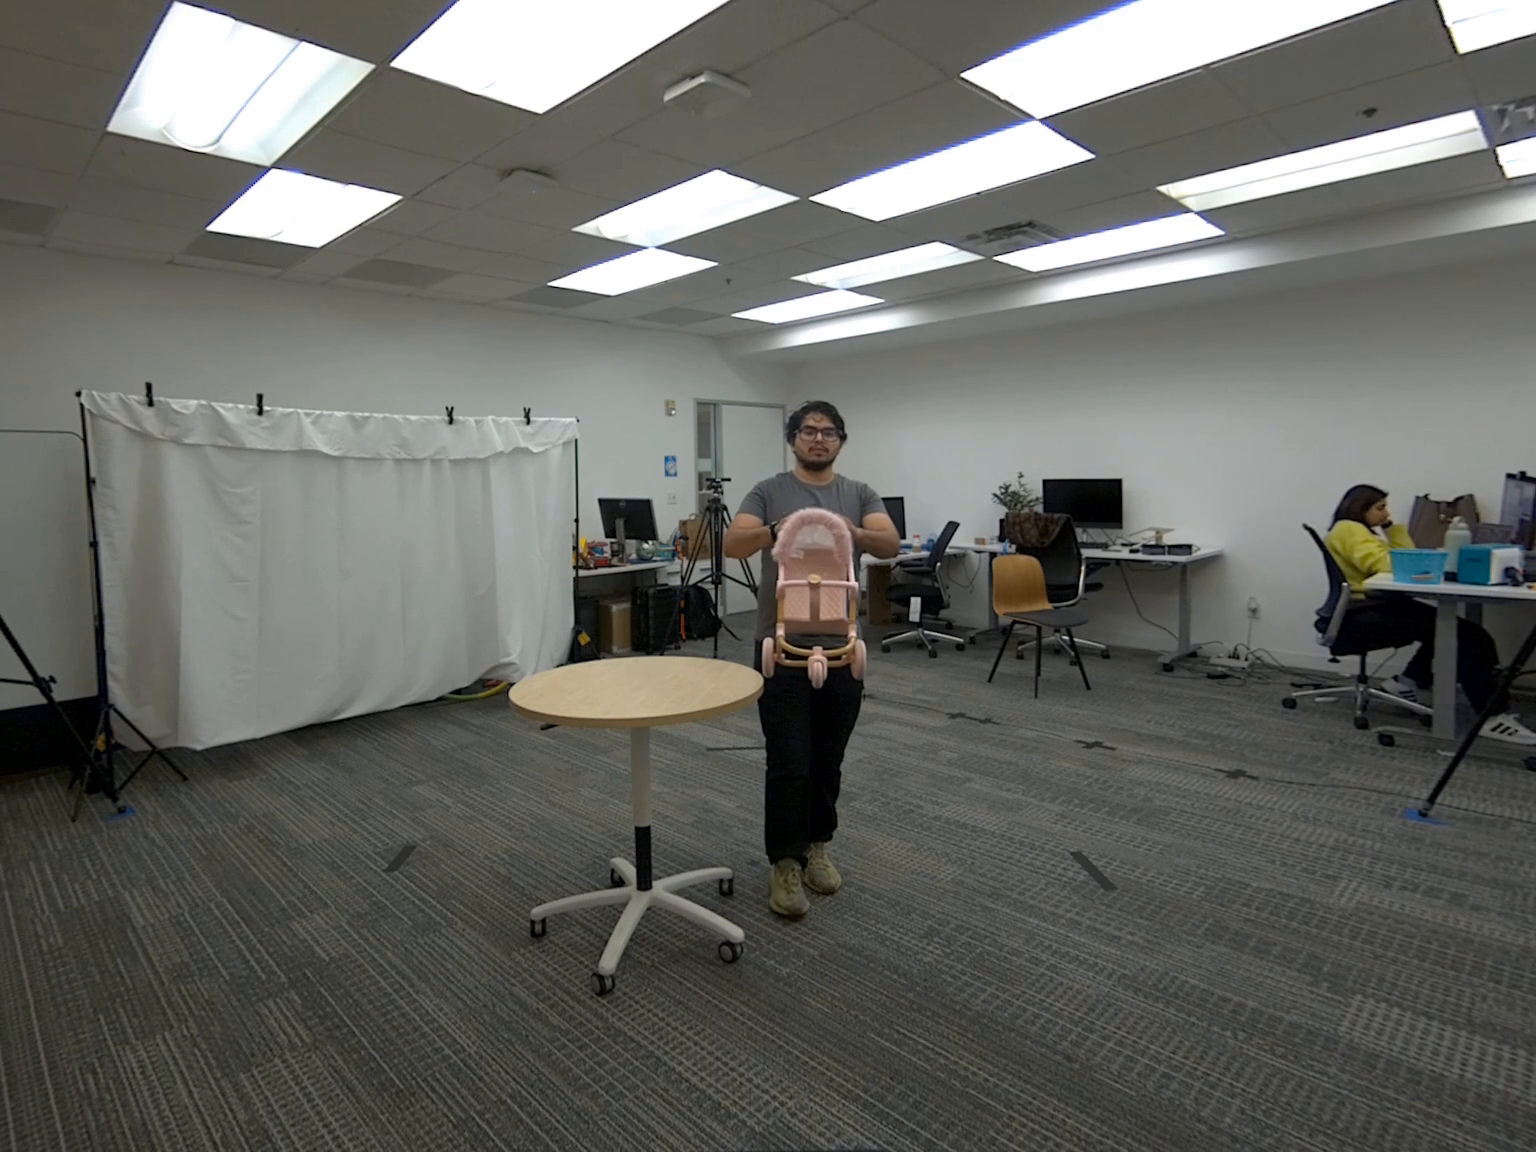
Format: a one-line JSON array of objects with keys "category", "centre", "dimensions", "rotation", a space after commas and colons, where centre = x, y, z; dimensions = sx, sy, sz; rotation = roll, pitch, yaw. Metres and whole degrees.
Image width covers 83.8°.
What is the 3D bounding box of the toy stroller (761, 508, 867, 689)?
[{"category": "toy stroller", "centre": [0.119, 0.056, 2.304], "dimensions": [0.283, 0.543, 0.333], "rotation": [0, -18, 7]}]
